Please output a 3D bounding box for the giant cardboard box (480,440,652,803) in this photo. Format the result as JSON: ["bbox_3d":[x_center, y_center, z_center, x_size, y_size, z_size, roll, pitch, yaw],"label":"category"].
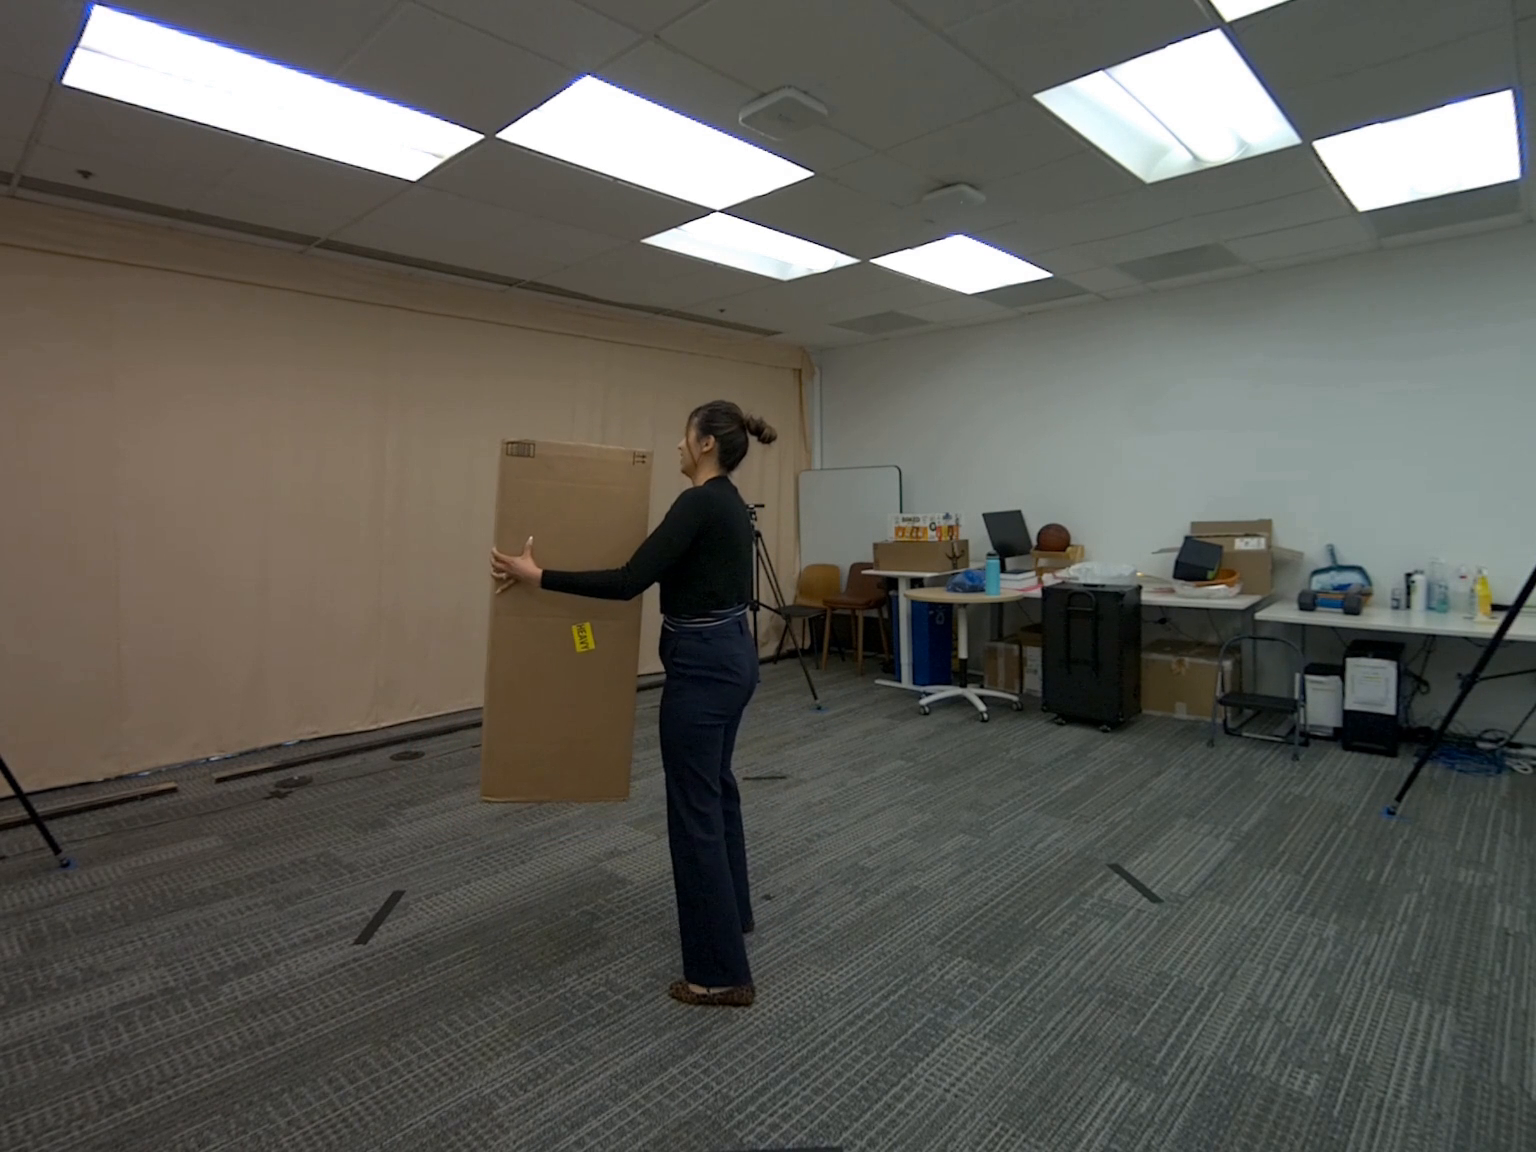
[{"bbox_3d":[-0.653,0.109,2.653,0.419,1.024,0.588,3,4,-16],"label":"giant cardboard box"}]
